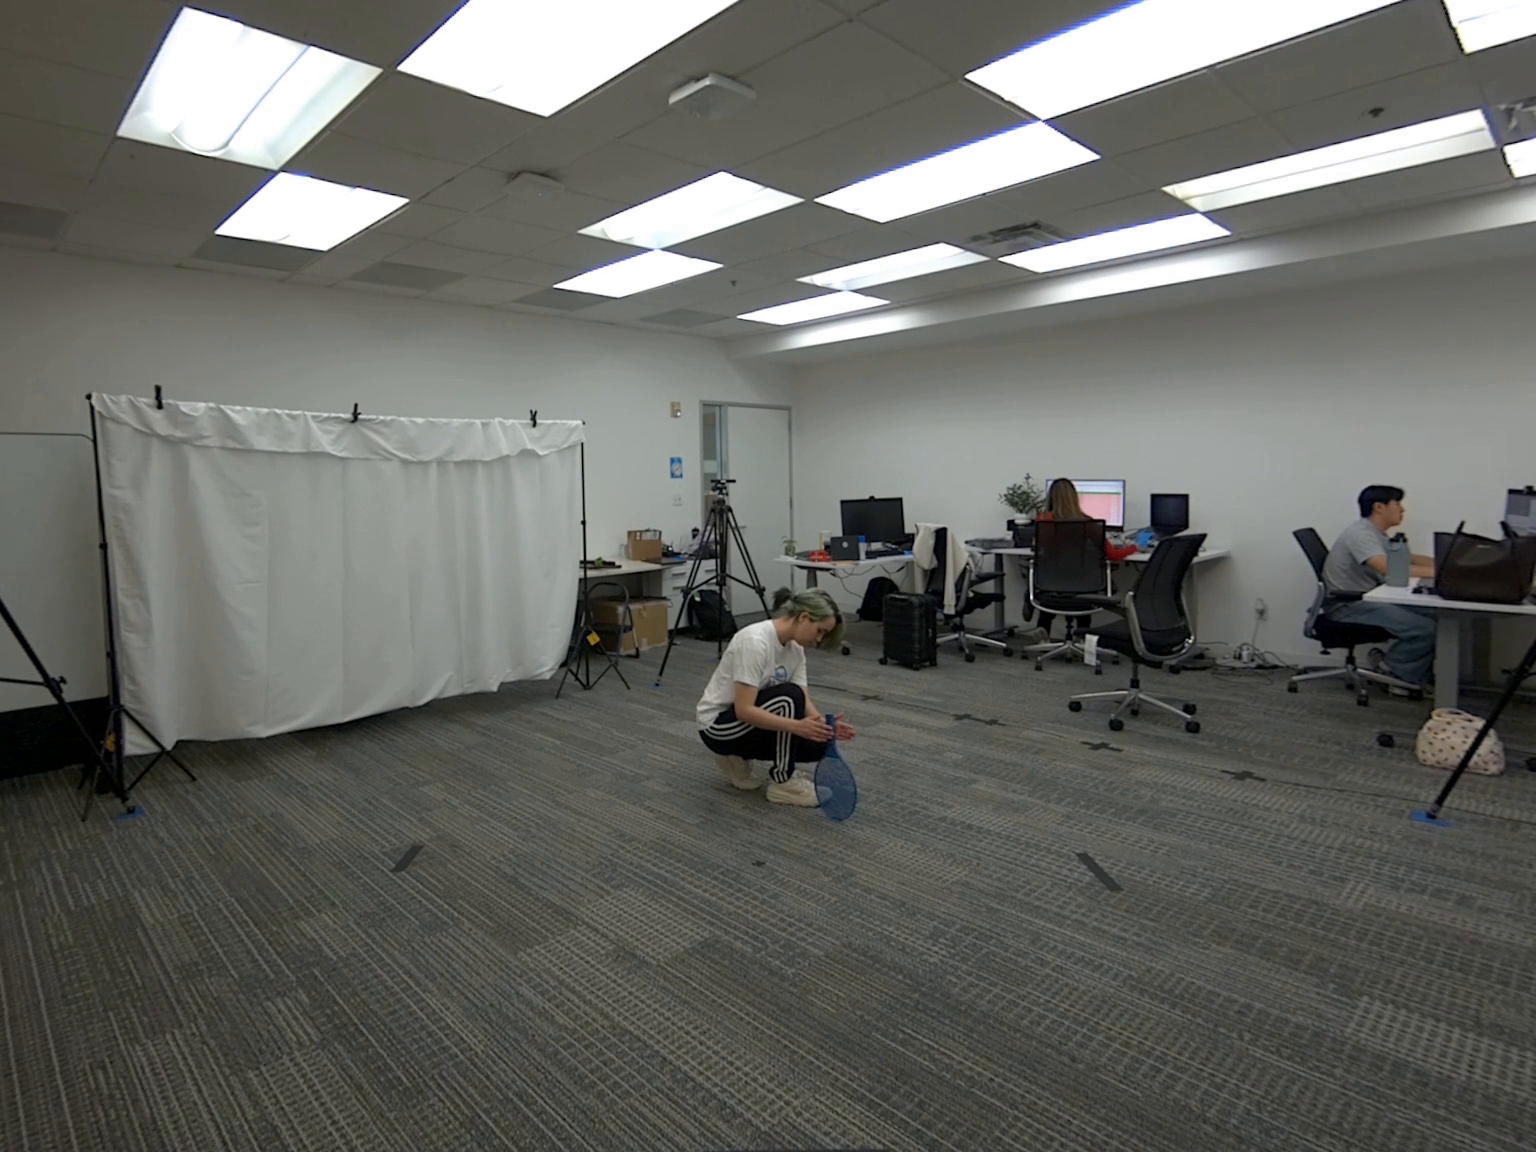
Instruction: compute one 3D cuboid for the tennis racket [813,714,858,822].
[{"bbox_3d":[0.272,0.782,3.497,0.220,0.433,0.031,-3,0,44],"label":"tennis racket"}]
